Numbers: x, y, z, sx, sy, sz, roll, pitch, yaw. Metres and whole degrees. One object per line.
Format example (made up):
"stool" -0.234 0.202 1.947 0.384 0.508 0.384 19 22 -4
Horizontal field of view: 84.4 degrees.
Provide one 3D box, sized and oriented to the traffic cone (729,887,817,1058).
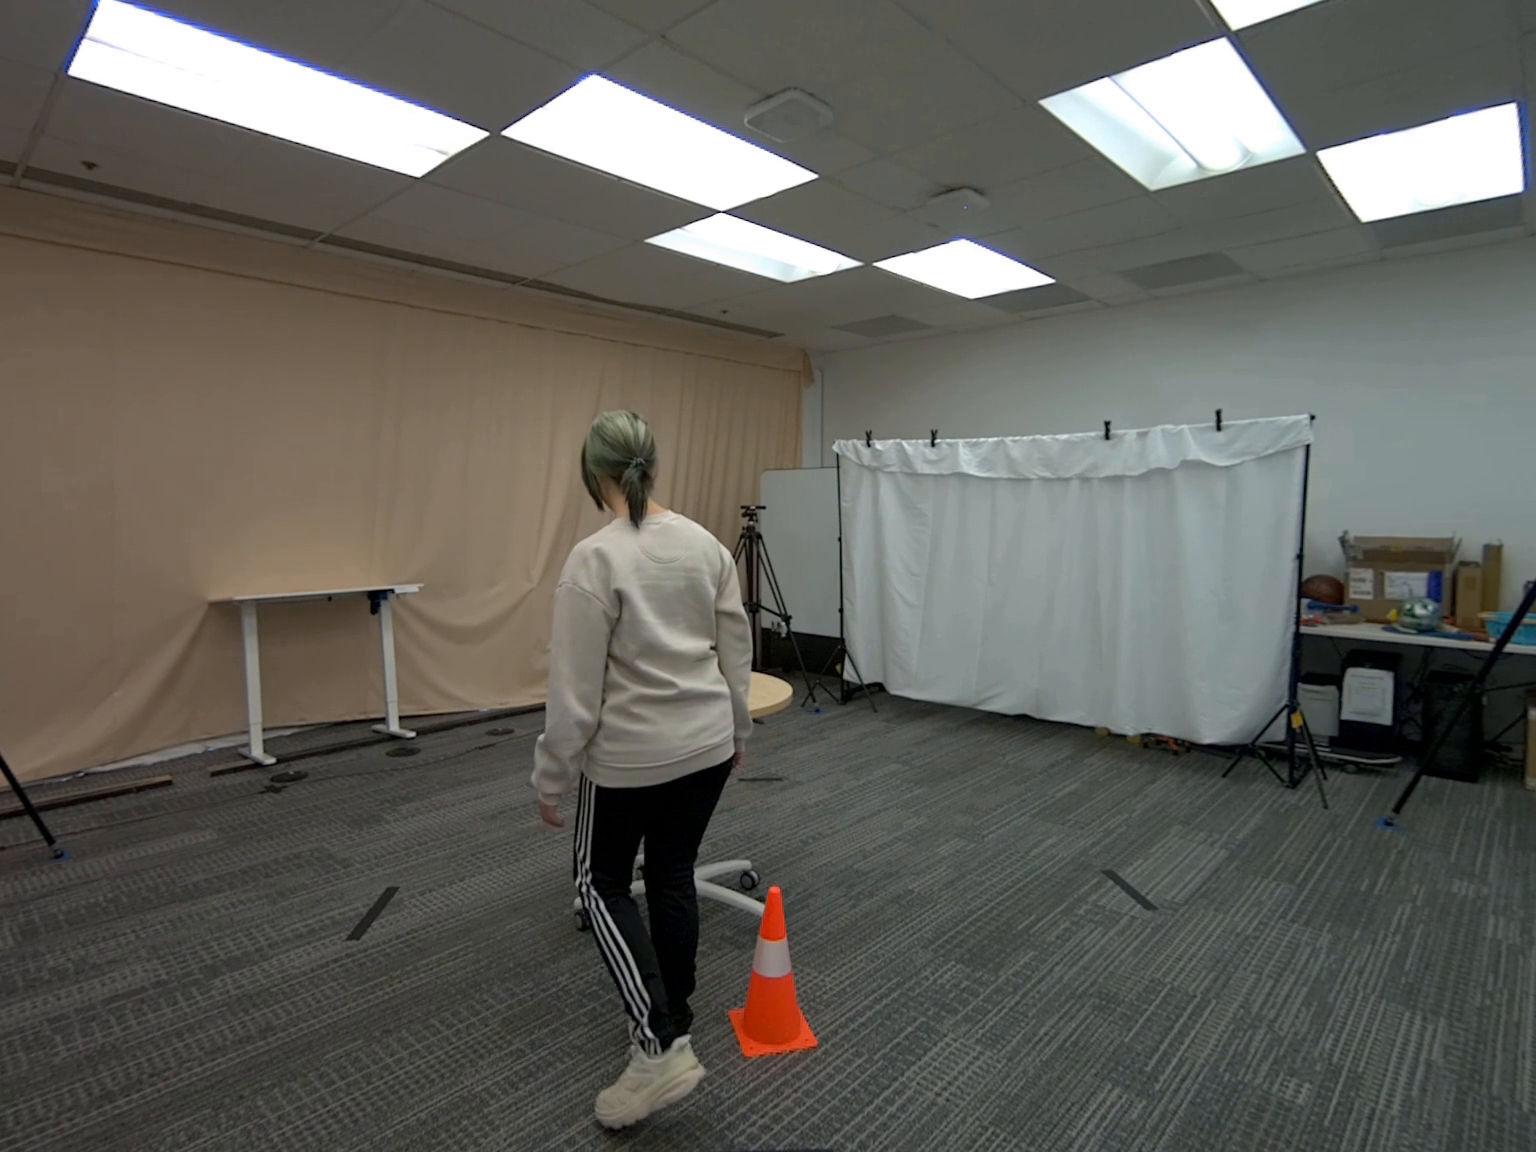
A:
"traffic cone" 0.017 1.024 2.223 0.200 0.383 0.208 -1 4 -14
